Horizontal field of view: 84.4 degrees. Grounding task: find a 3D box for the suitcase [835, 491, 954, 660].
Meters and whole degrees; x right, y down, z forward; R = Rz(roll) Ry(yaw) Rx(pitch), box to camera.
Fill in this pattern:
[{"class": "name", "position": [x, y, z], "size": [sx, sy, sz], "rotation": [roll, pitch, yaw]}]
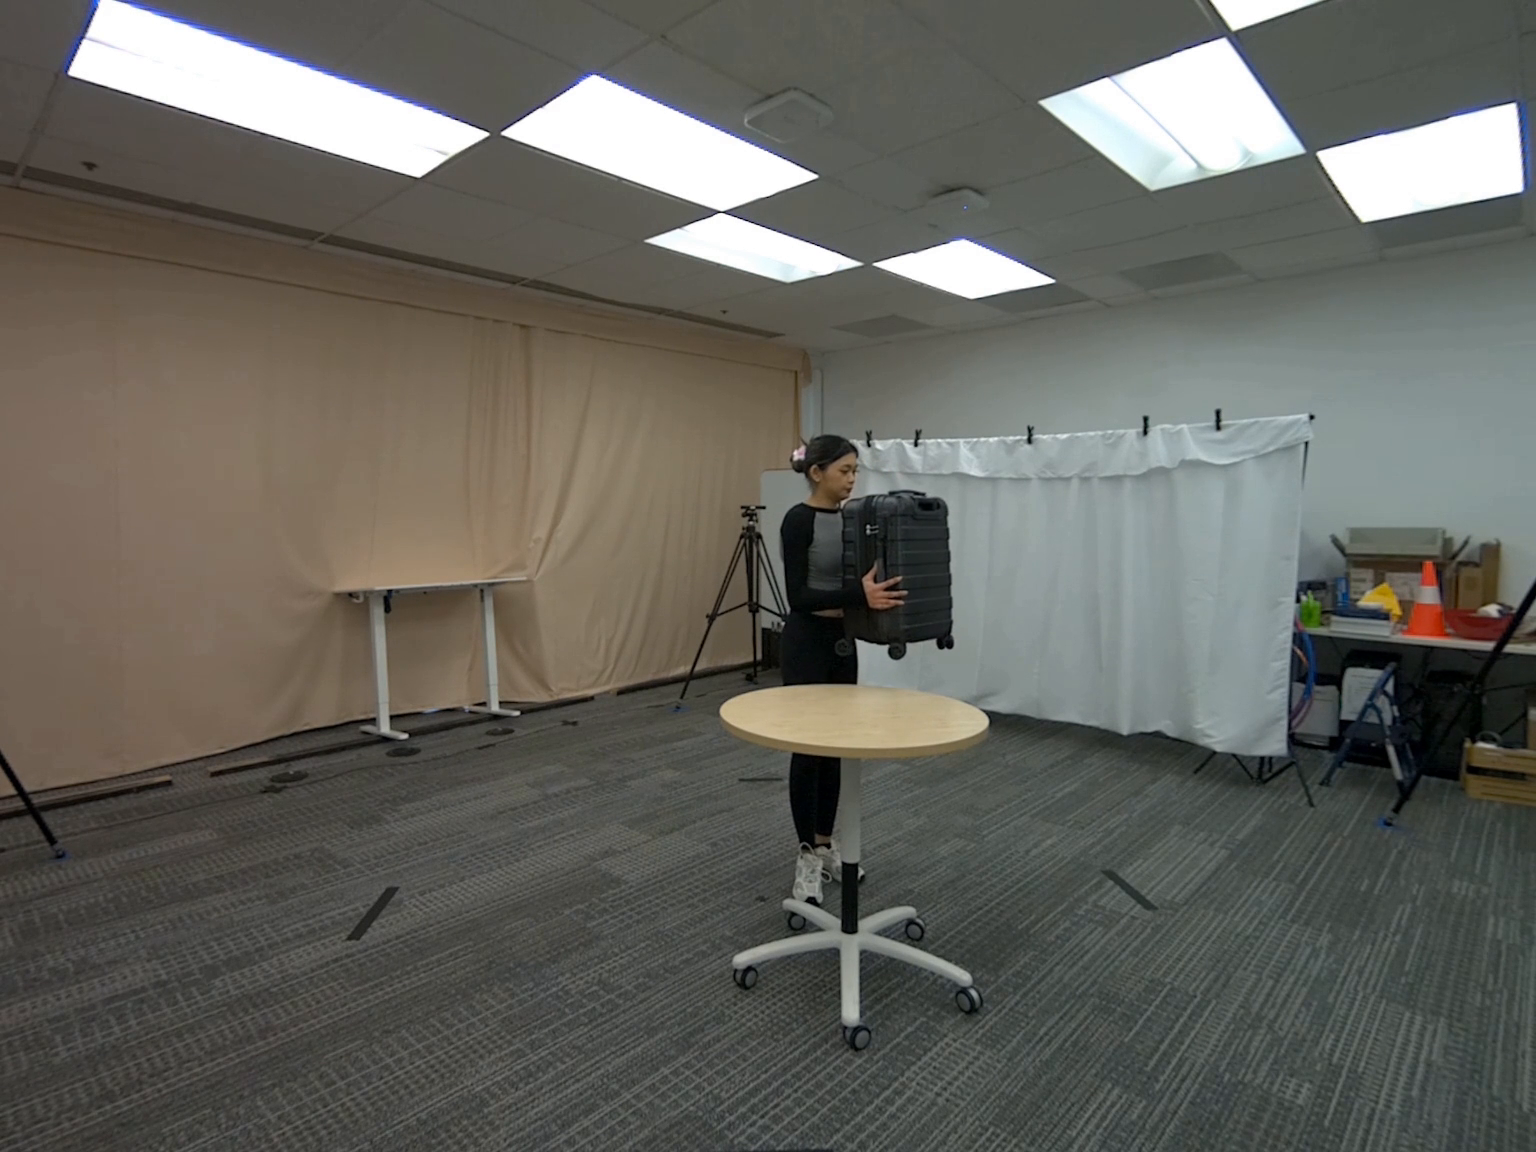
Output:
[{"class": "suitcase", "position": [0.451, -0.014, 2.895], "size": [0.256, 0.549, 0.364], "rotation": [0, 2, 42]}]
